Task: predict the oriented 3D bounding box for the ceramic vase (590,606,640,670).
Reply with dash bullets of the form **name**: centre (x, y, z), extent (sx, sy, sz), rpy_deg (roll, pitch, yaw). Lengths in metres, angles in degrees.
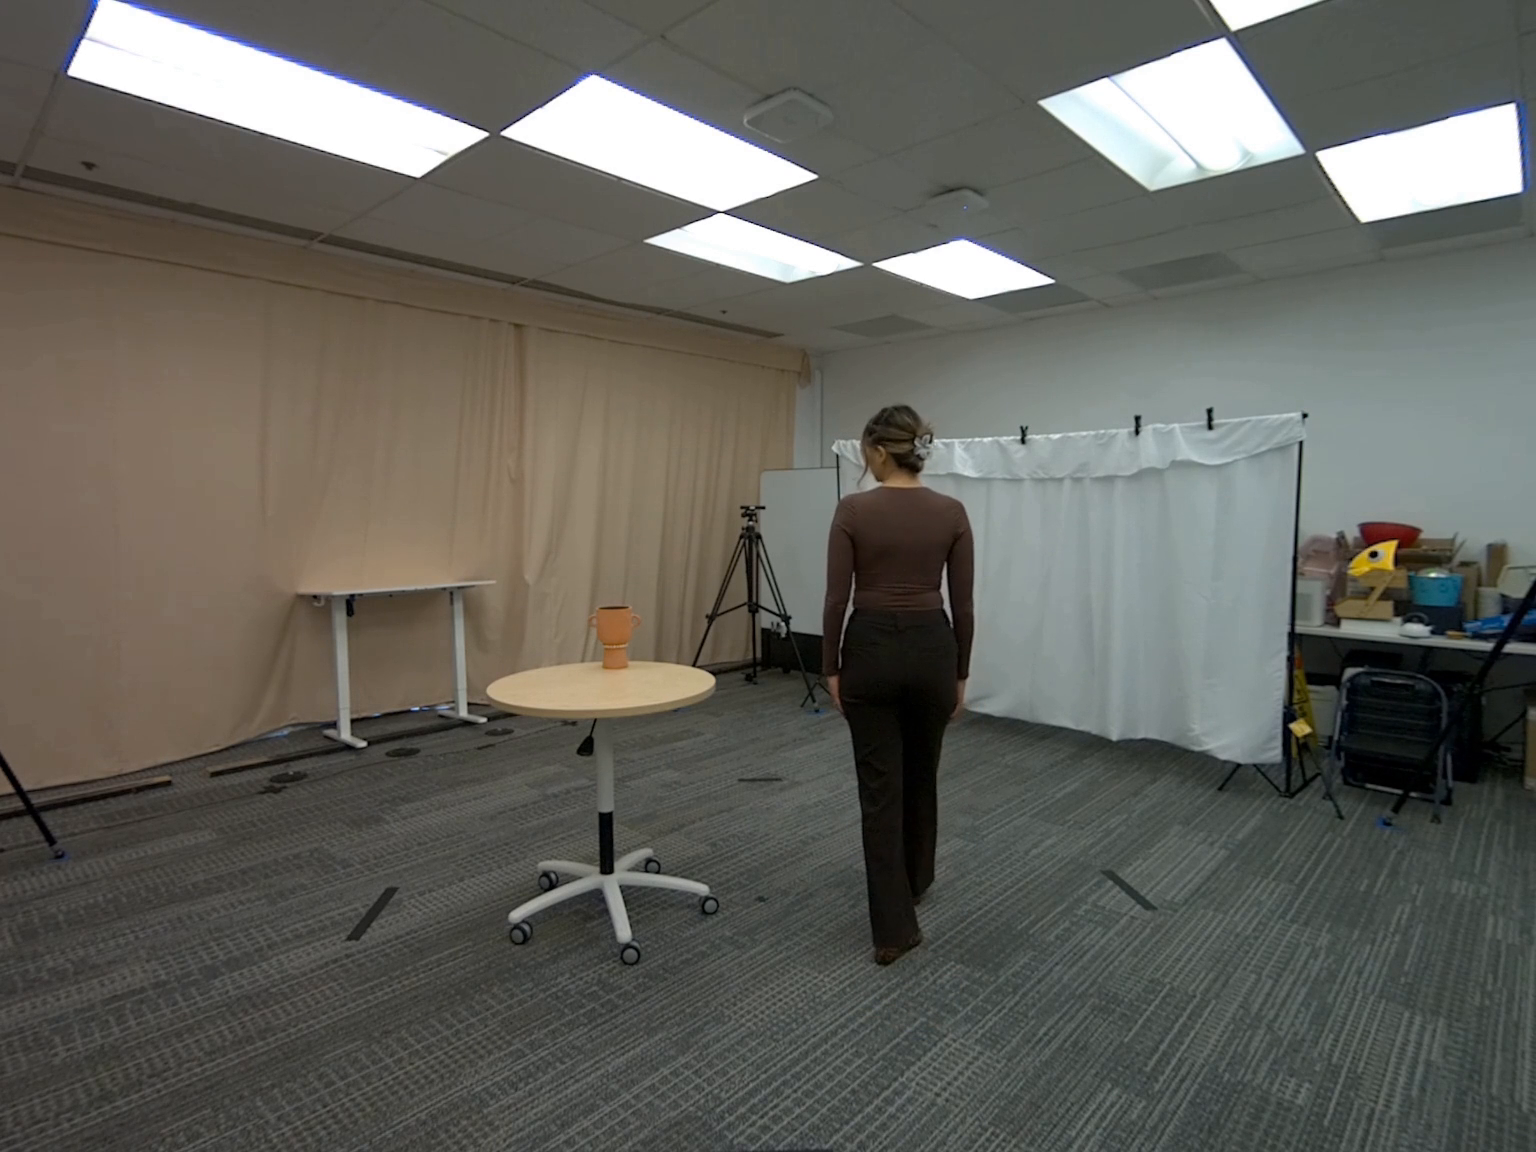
- **ceramic vase**: centre (-0.567, 0.227, 3.122), extent (0.164, 0.219, 0.130), rpy_deg (3, 5, 39)
